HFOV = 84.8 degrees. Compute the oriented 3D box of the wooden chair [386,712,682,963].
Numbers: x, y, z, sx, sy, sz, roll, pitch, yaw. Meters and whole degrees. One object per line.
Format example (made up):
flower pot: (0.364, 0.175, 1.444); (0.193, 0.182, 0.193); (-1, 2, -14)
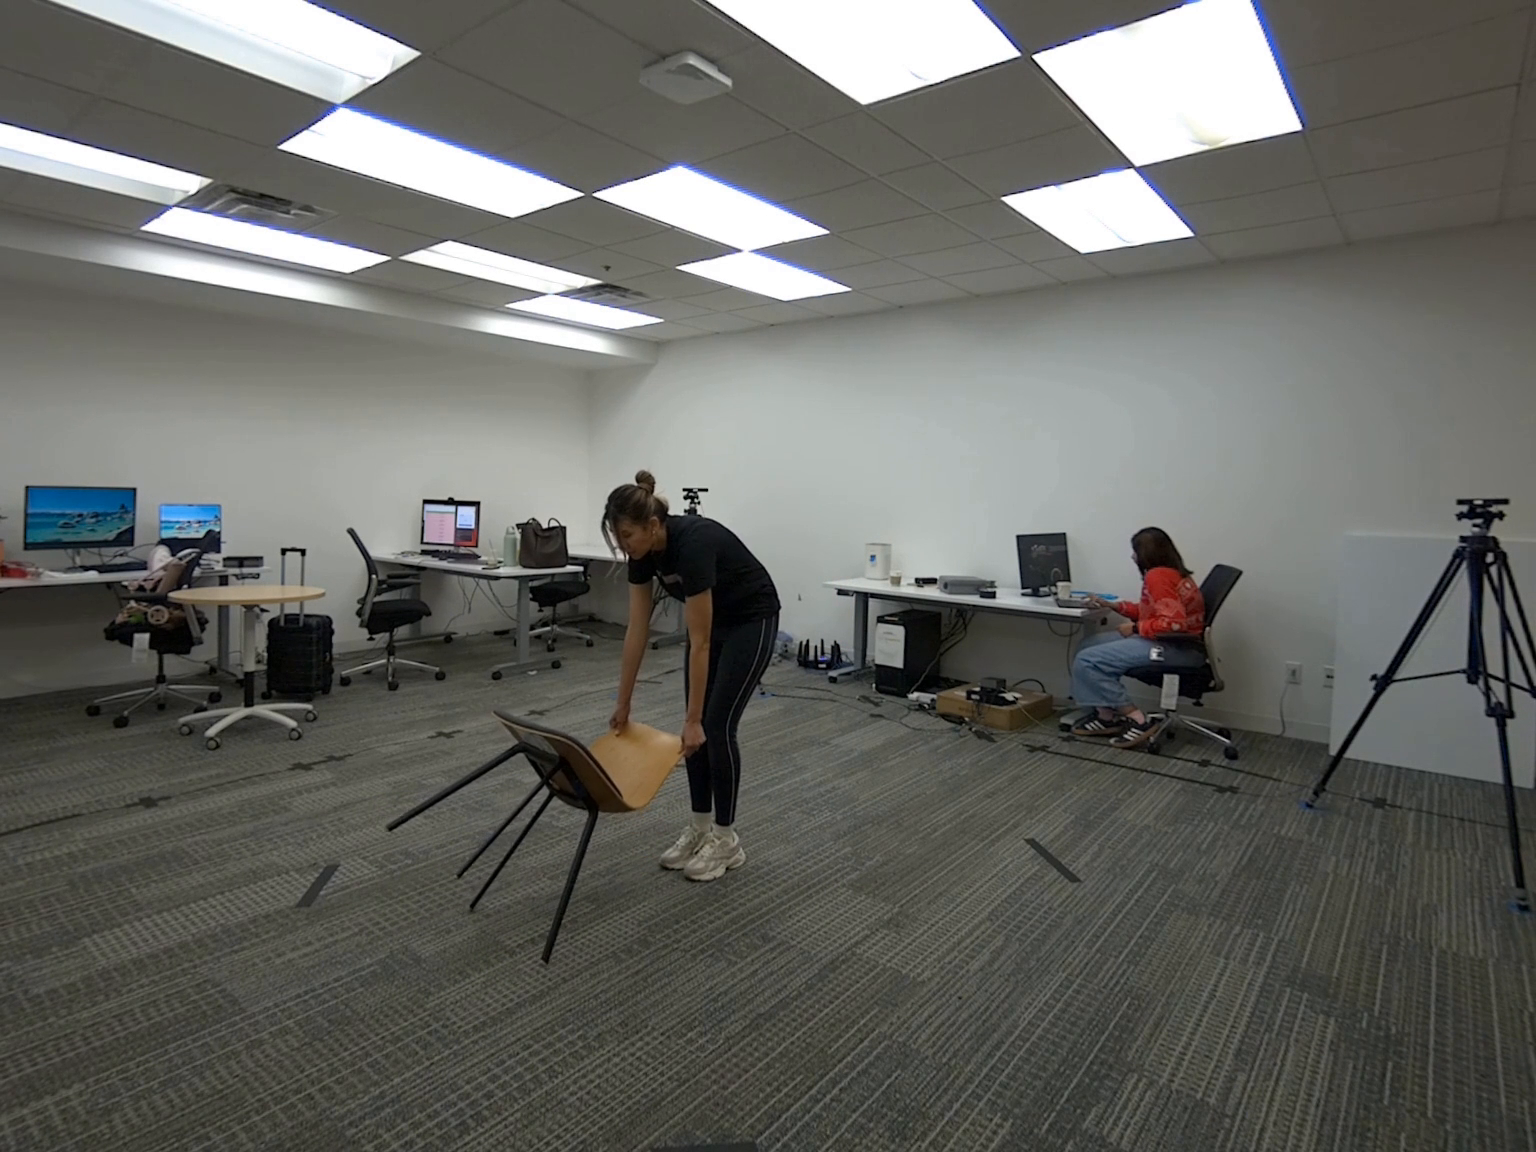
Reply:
wooden chair: (-0.683, 0.646, 2.726); (0.494, 0.506, 0.876); (4, 41, 44)
